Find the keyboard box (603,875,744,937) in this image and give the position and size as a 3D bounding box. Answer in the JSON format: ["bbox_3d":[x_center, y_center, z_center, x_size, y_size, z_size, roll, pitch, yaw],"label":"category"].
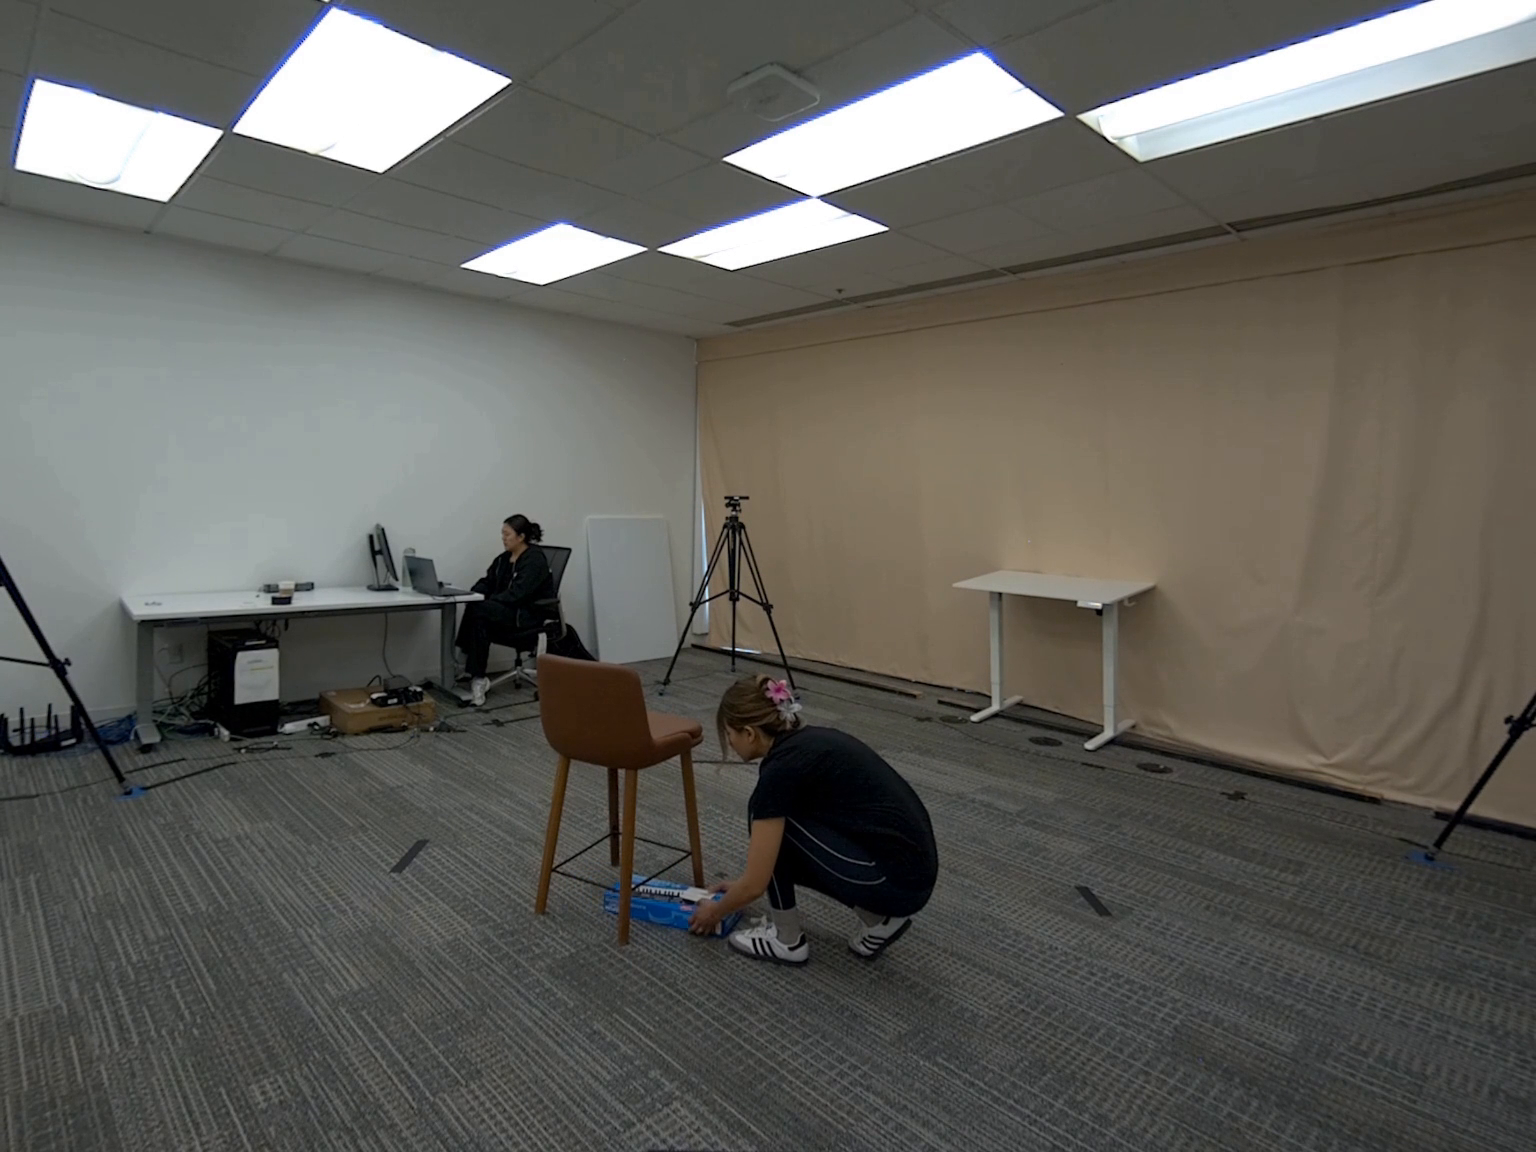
[{"bbox_3d":[-0.321,1.097,2.811,0.444,0.059,0.173,2,5,21],"label":"keyboard box"}]
